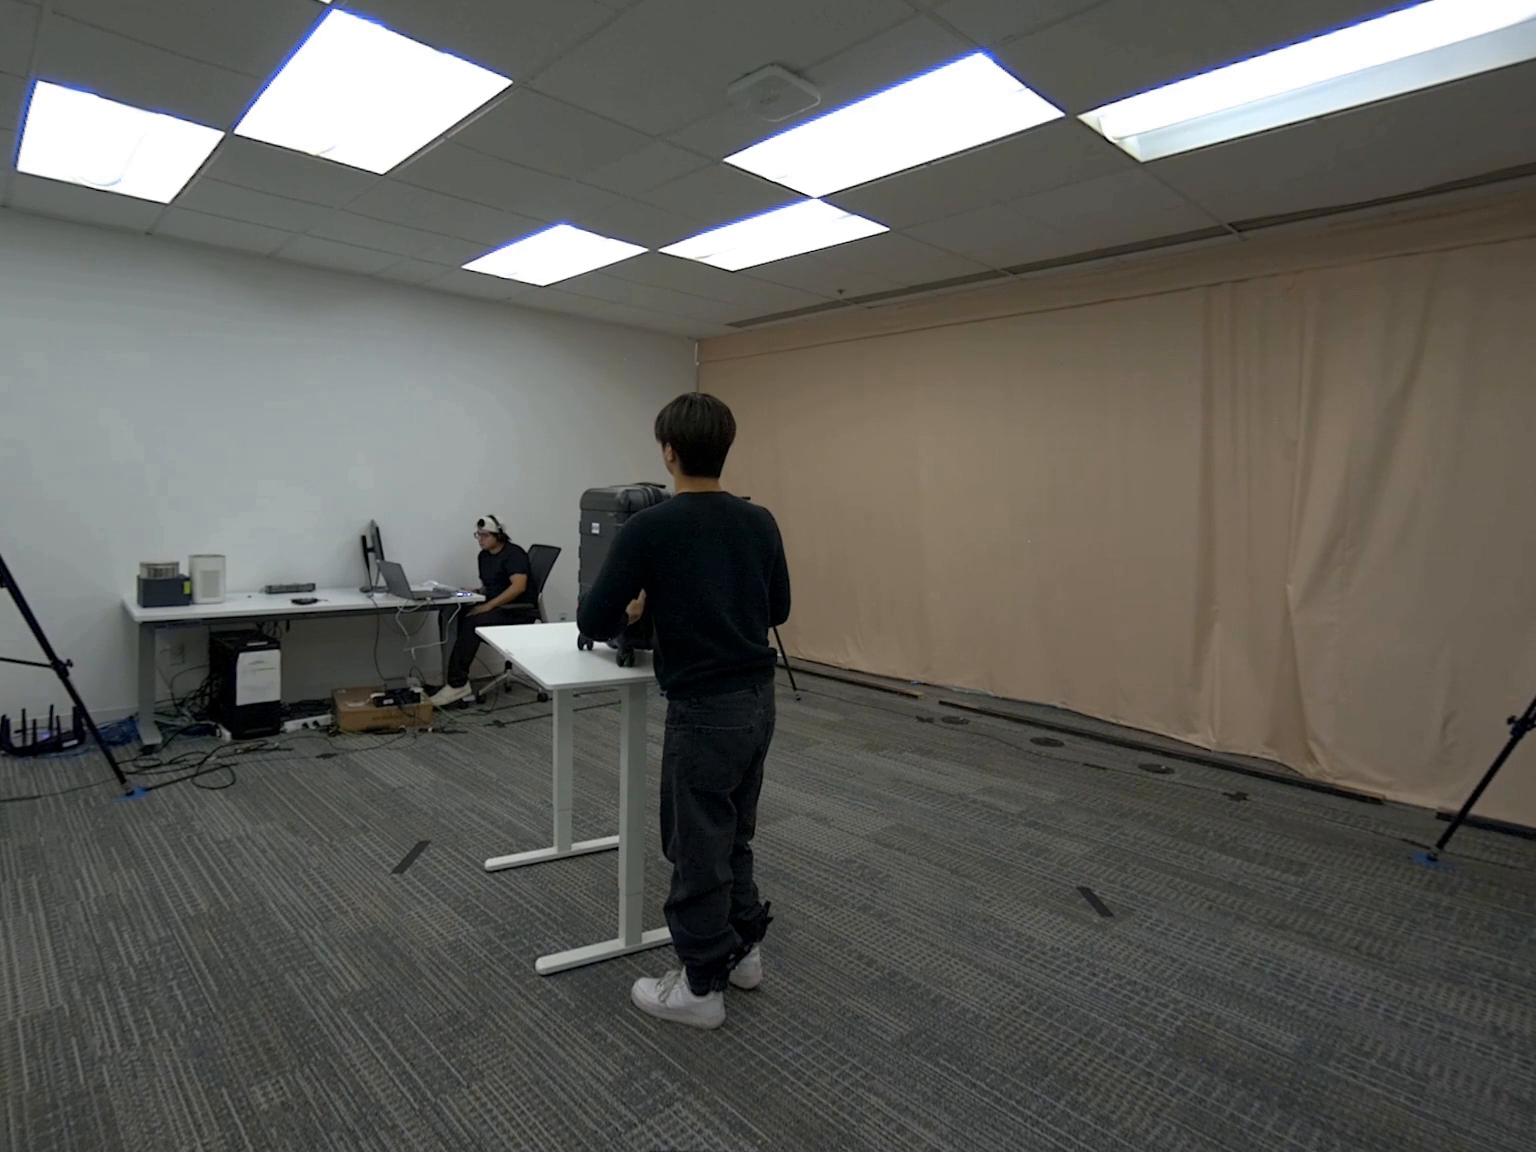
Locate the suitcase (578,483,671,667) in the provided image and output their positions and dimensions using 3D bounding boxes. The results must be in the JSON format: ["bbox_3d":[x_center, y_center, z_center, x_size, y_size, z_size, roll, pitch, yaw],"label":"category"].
[{"bbox_3d":[-0.429,-0.019,2.674,0.243,0.547,0.385,-3,7,-35],"label":"suitcase"}]
